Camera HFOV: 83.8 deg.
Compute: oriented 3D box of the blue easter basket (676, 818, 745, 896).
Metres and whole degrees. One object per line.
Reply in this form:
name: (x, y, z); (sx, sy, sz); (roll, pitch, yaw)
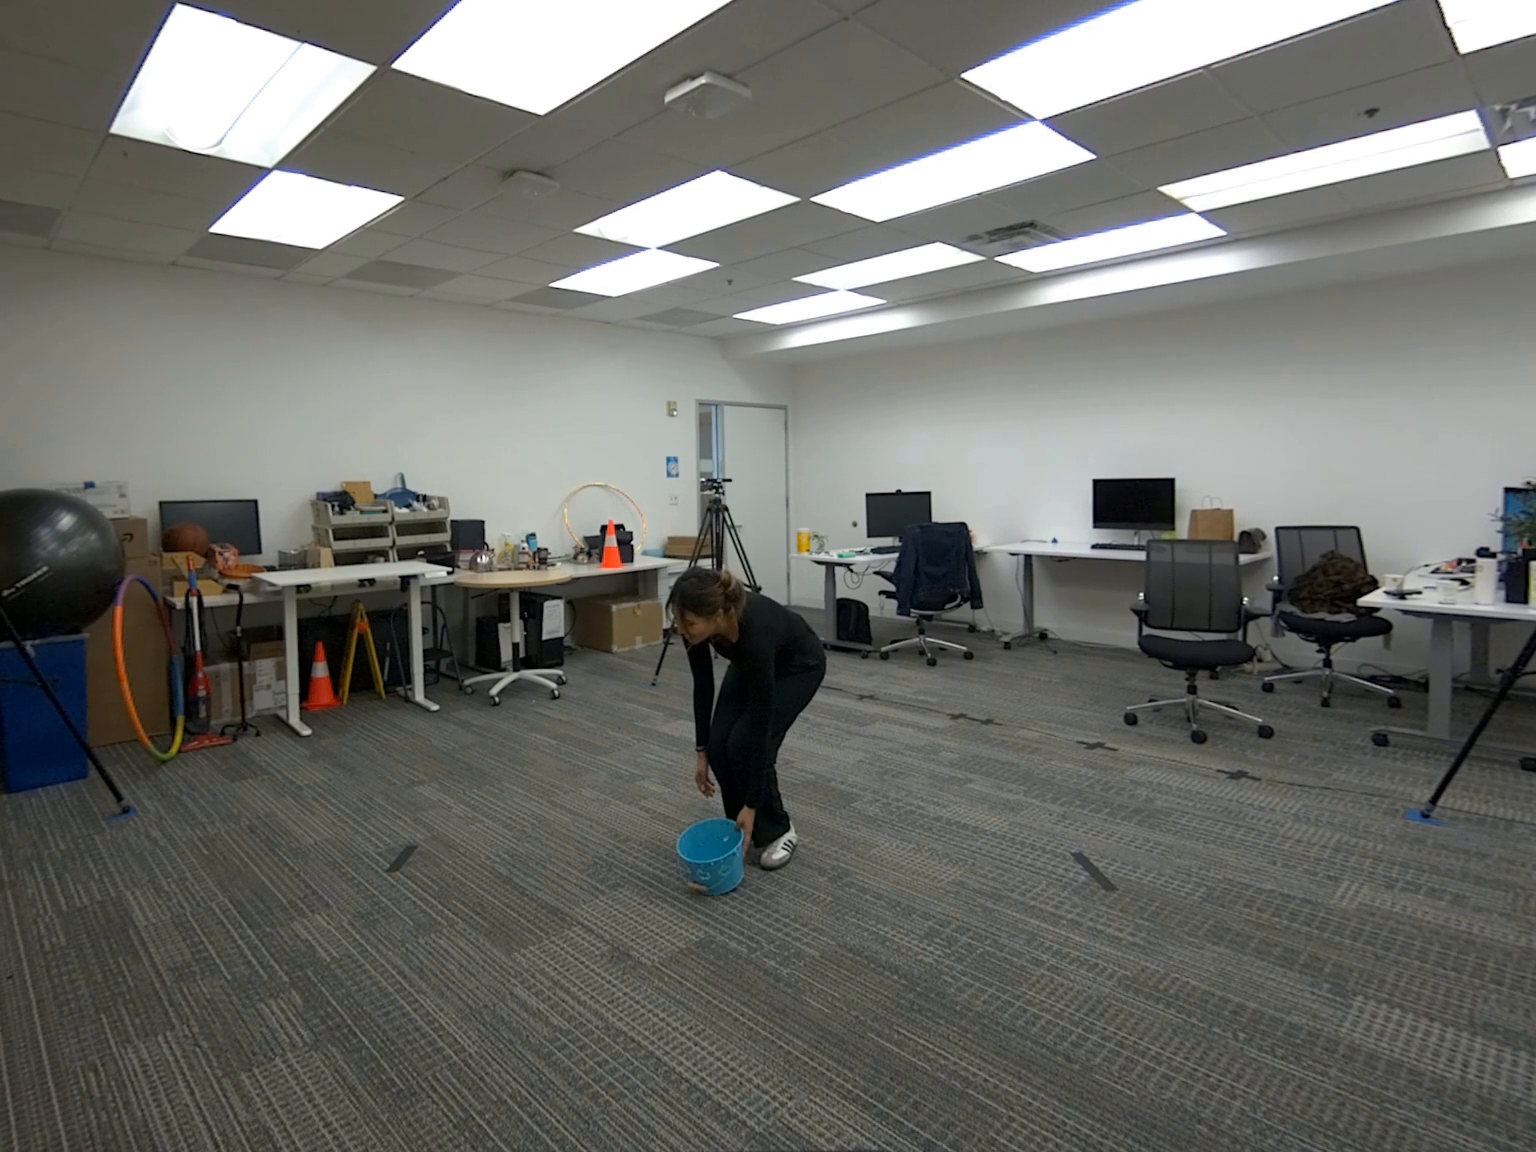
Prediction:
blue easter basket: (-0.193, 0.960, 2.934); (0.244, 0.153, 0.247); (-8, 16, 1)
